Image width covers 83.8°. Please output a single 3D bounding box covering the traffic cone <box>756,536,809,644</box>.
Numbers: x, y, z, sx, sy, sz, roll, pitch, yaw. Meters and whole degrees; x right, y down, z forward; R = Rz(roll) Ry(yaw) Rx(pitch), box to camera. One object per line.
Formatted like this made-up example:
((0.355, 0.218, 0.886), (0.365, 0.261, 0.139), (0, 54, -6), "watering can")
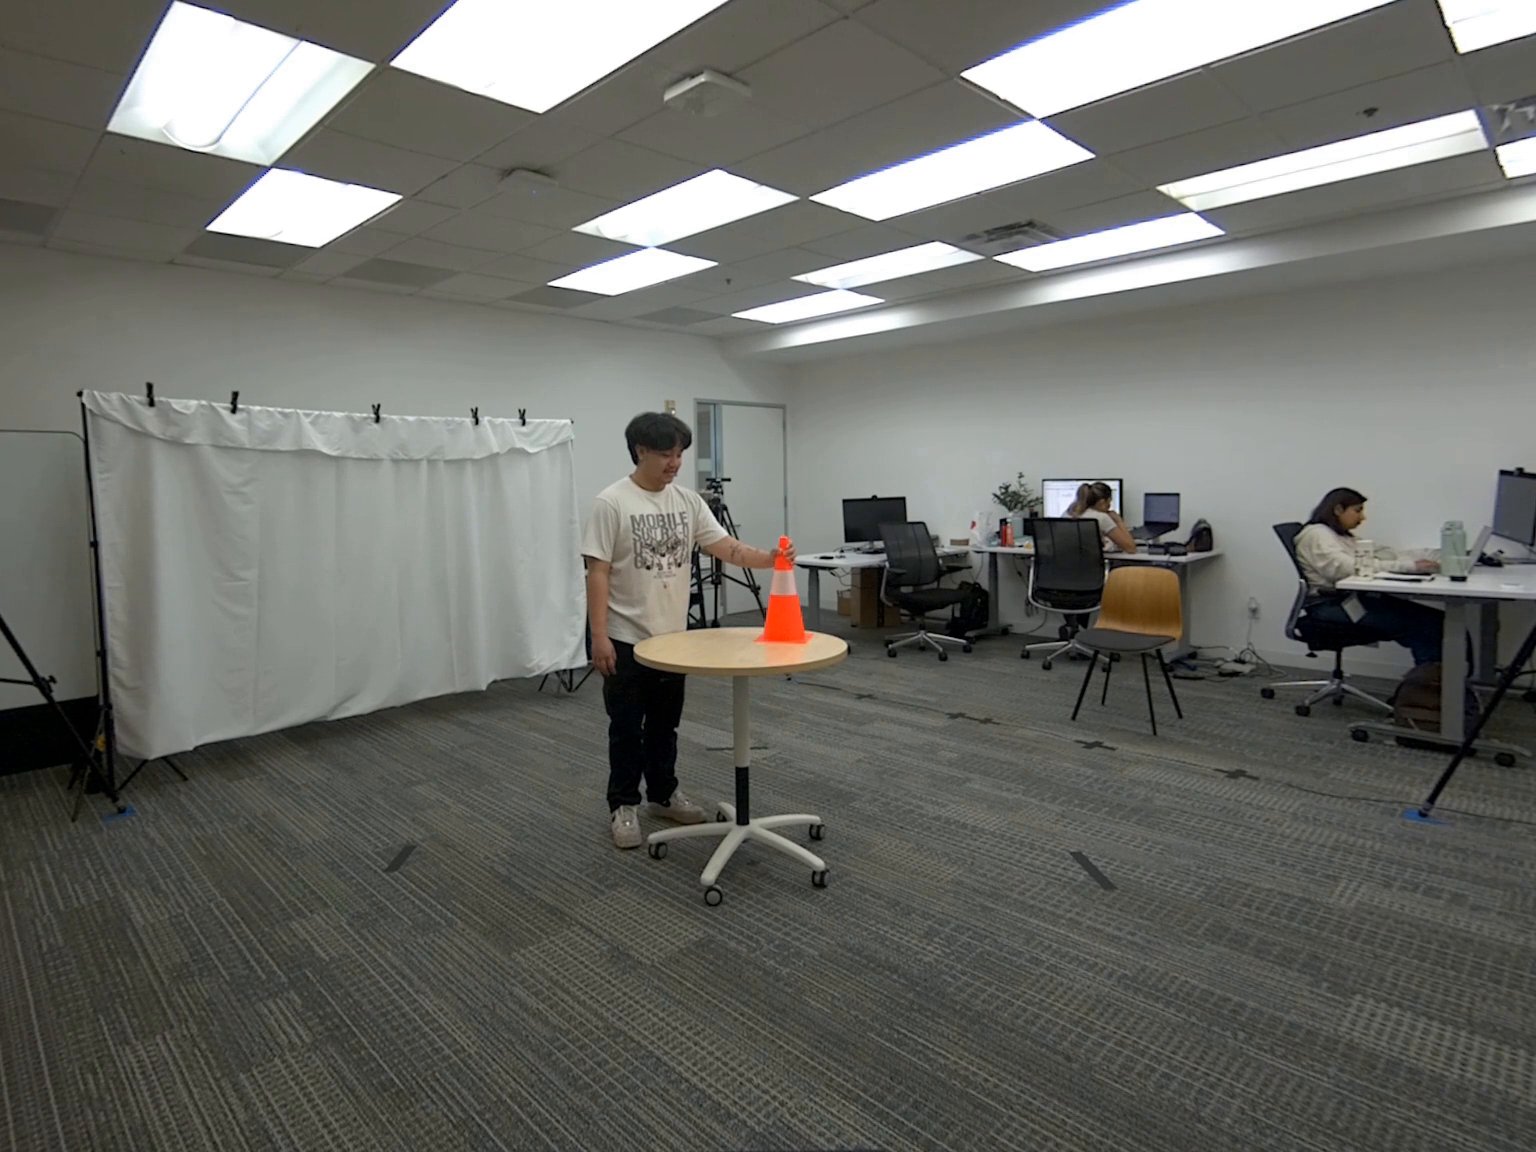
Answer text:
((0.053, 0.044, 3.193), (0.206, 0.382, 0.203), (-1, 5, 14), "traffic cone")
